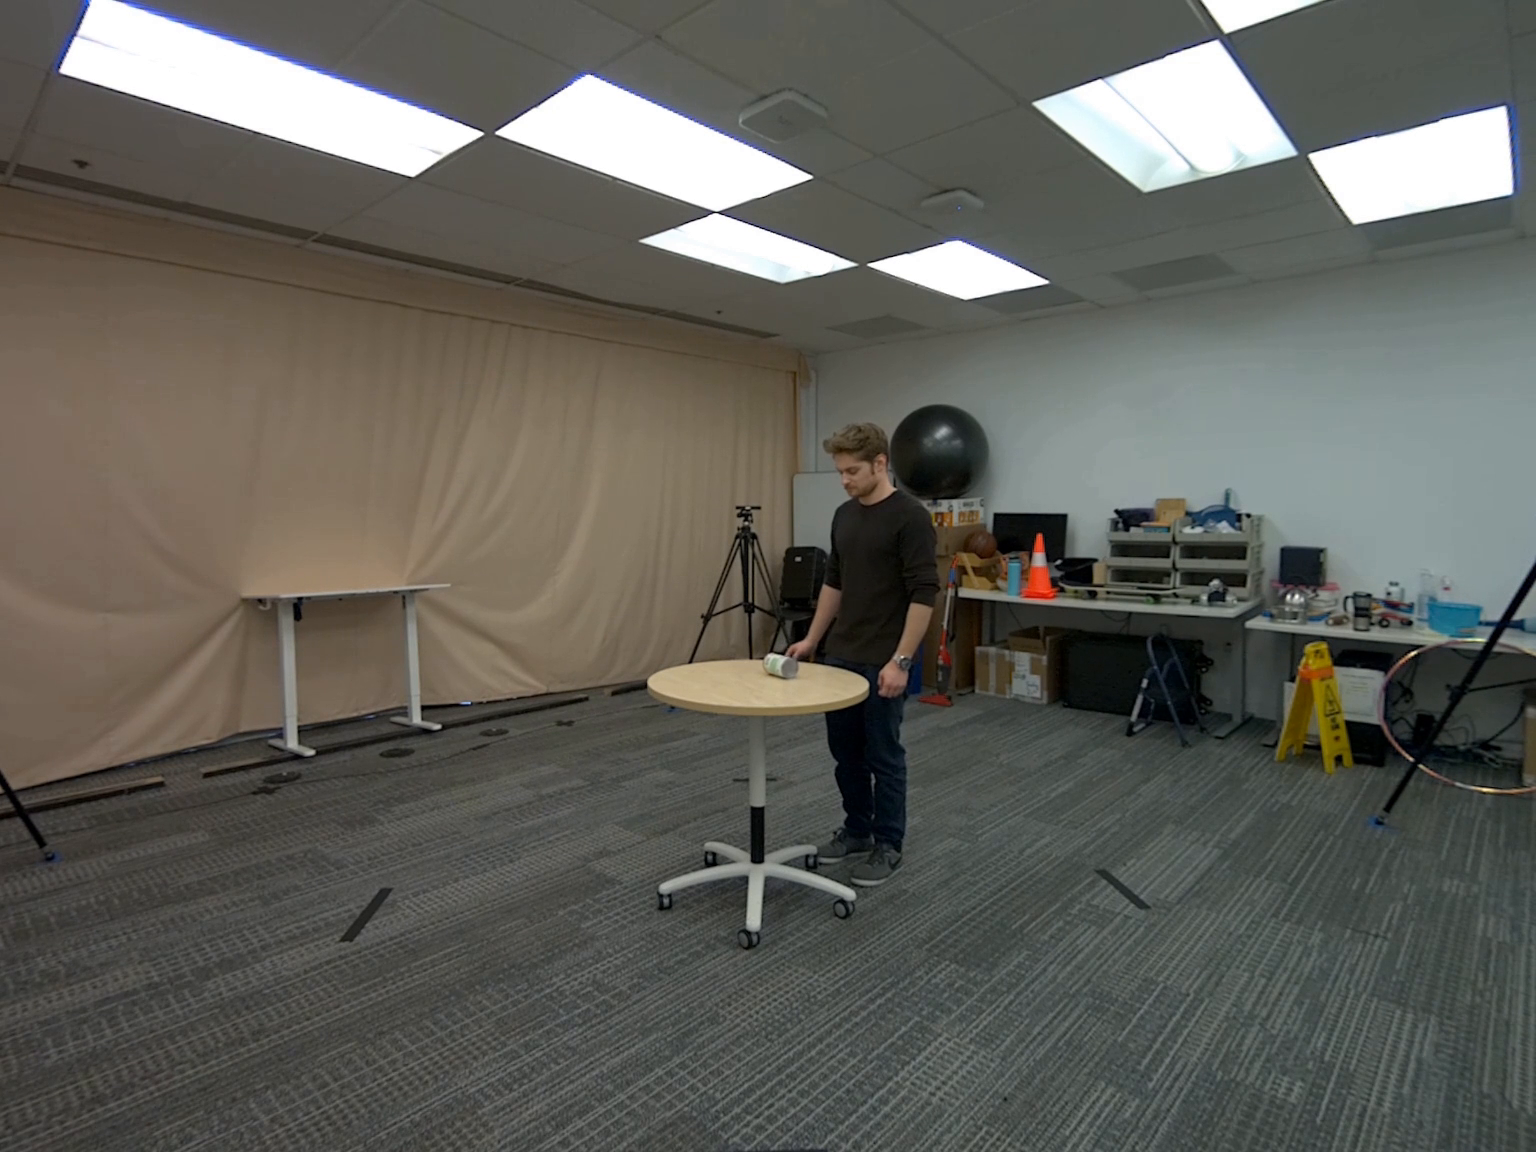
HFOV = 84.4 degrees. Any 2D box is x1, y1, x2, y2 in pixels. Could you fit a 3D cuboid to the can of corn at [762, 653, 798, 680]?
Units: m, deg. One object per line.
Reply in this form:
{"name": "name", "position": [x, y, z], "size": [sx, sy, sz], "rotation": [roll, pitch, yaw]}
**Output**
{"name": "can of corn", "position": [0.047, 0.320, 3.002], "size": [0.072, 0.074, 0.114], "rotation": [-3, 4, -35]}
